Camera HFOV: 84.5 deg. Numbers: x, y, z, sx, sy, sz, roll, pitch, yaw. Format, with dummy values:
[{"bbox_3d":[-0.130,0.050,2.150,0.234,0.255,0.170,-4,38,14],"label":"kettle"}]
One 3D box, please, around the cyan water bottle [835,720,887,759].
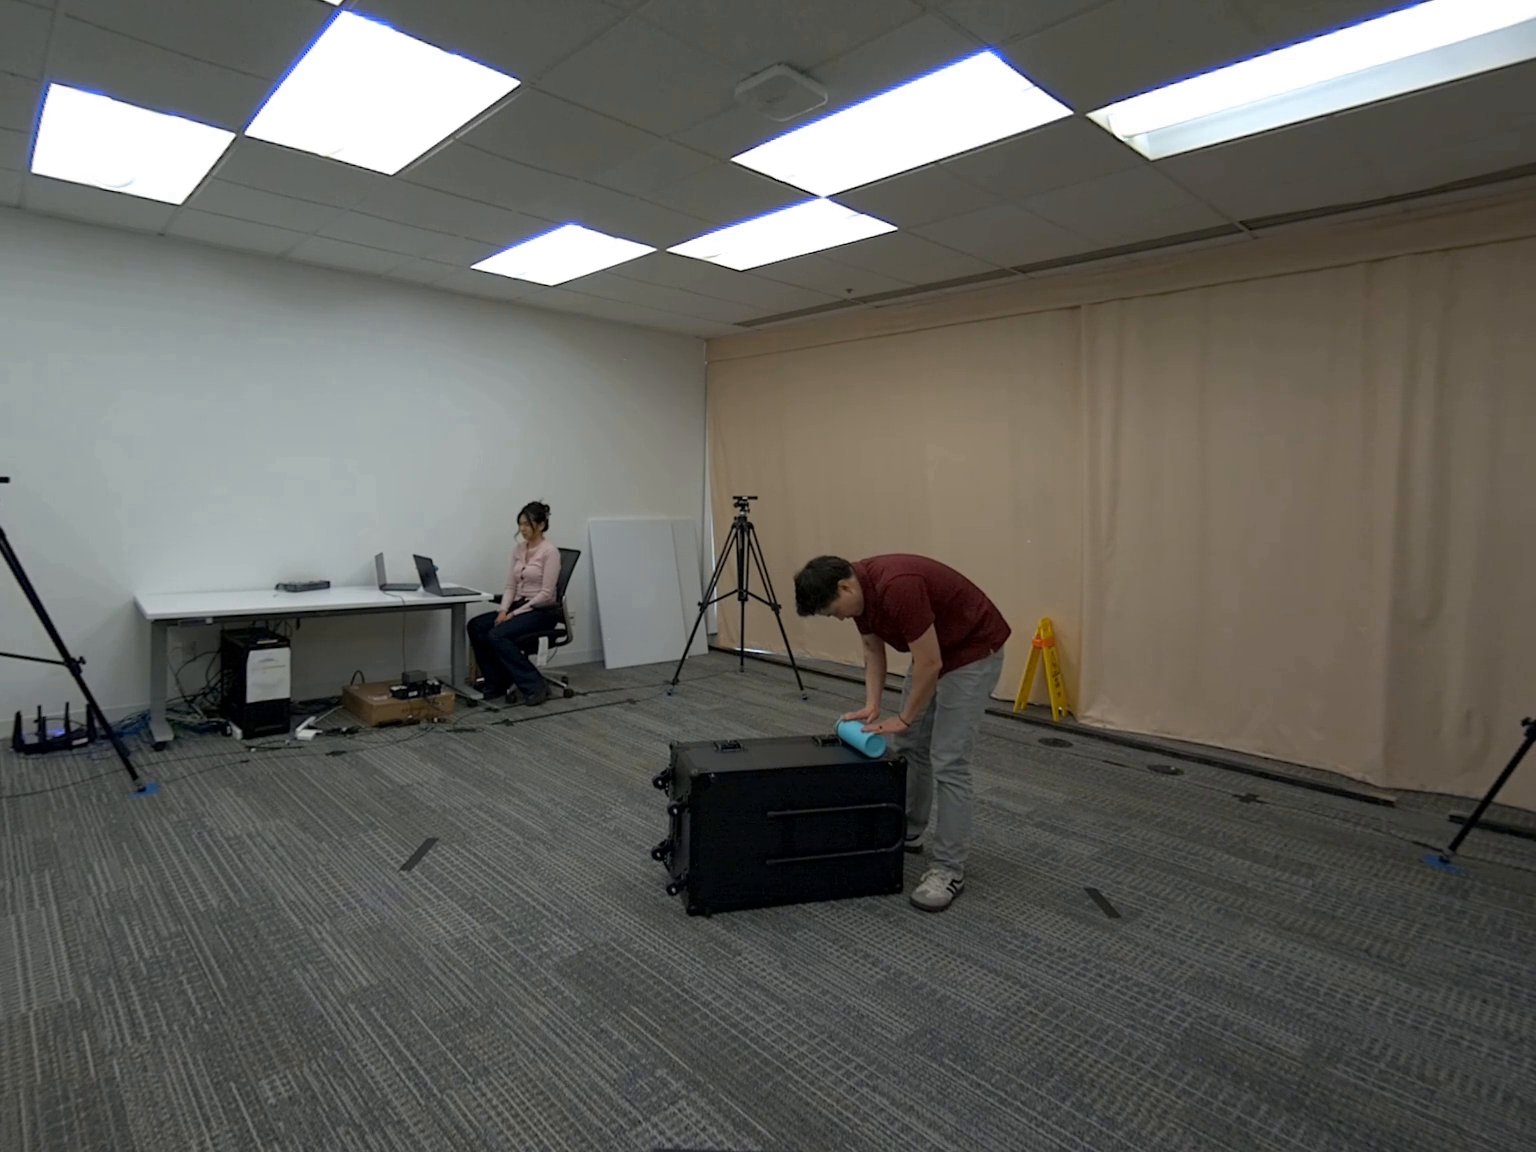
[{"bbox_3d":[0.325,0.586,3.095,0.091,0.092,0.288,0,5,-17],"label":"cyan water bottle"}]
